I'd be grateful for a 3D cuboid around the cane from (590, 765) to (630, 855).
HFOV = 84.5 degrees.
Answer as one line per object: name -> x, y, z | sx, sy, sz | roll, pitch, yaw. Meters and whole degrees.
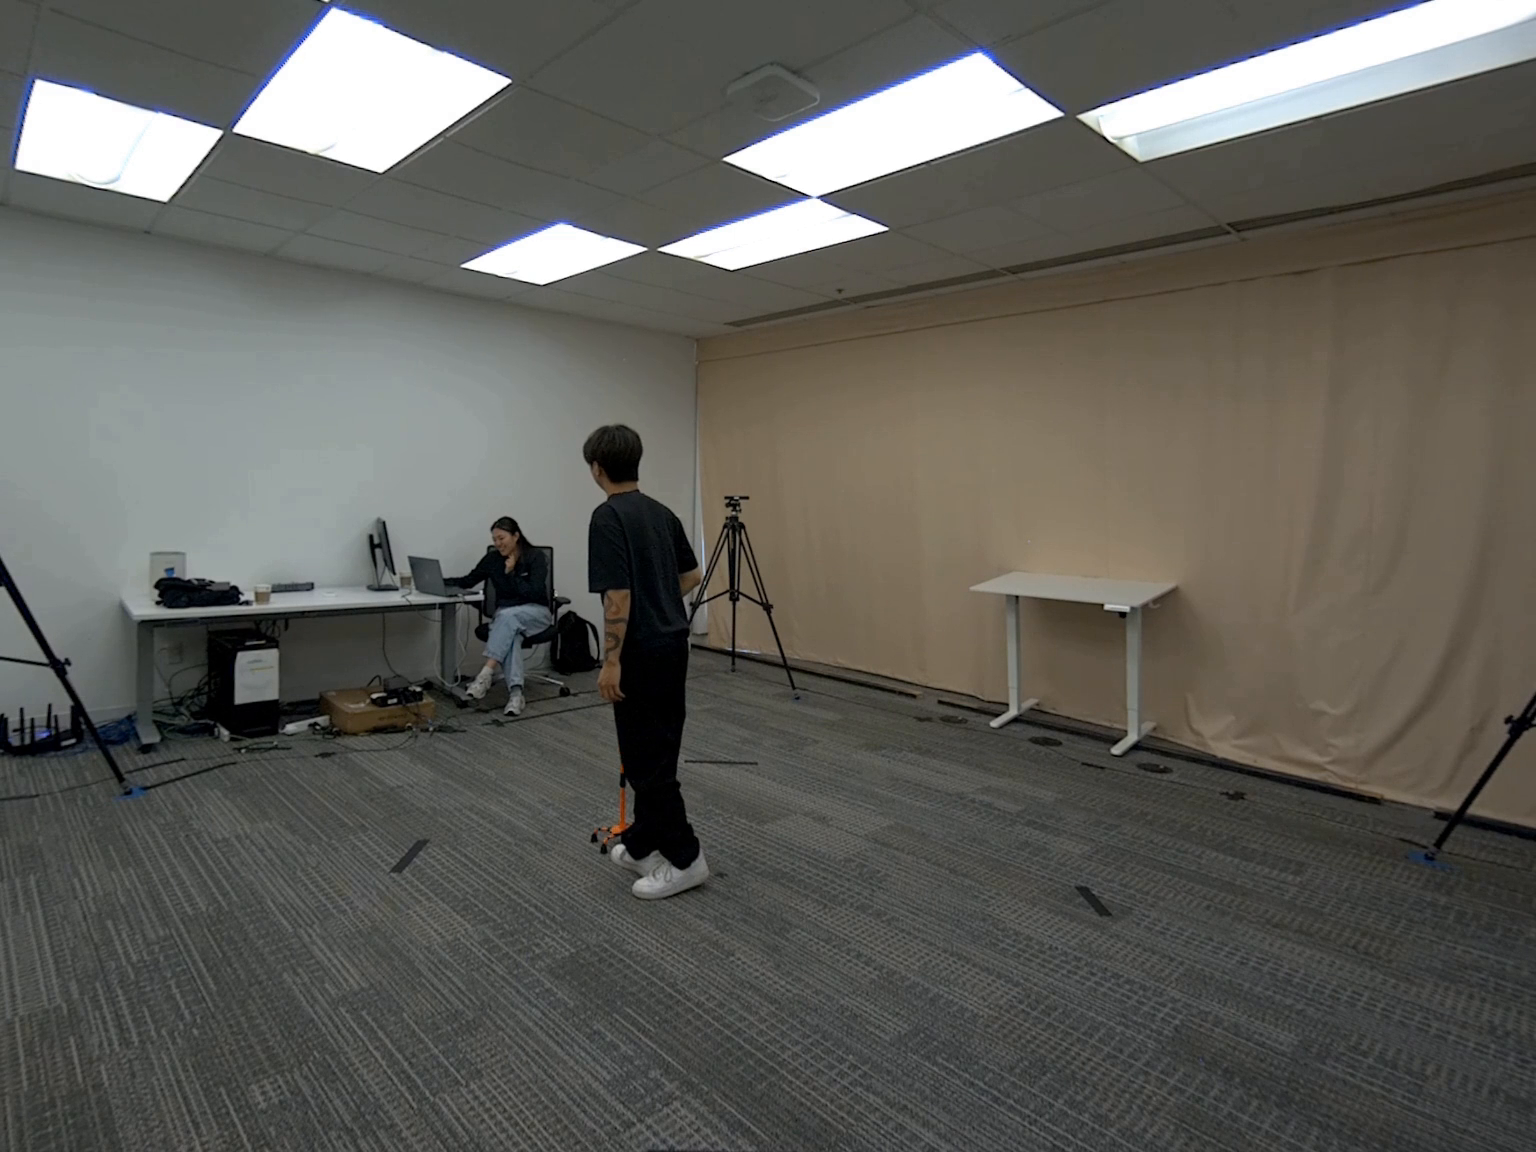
cane -> -0.594, 0.619, 3.350 | 0.202, 0.906, 0.155 | -1, 3, -30
